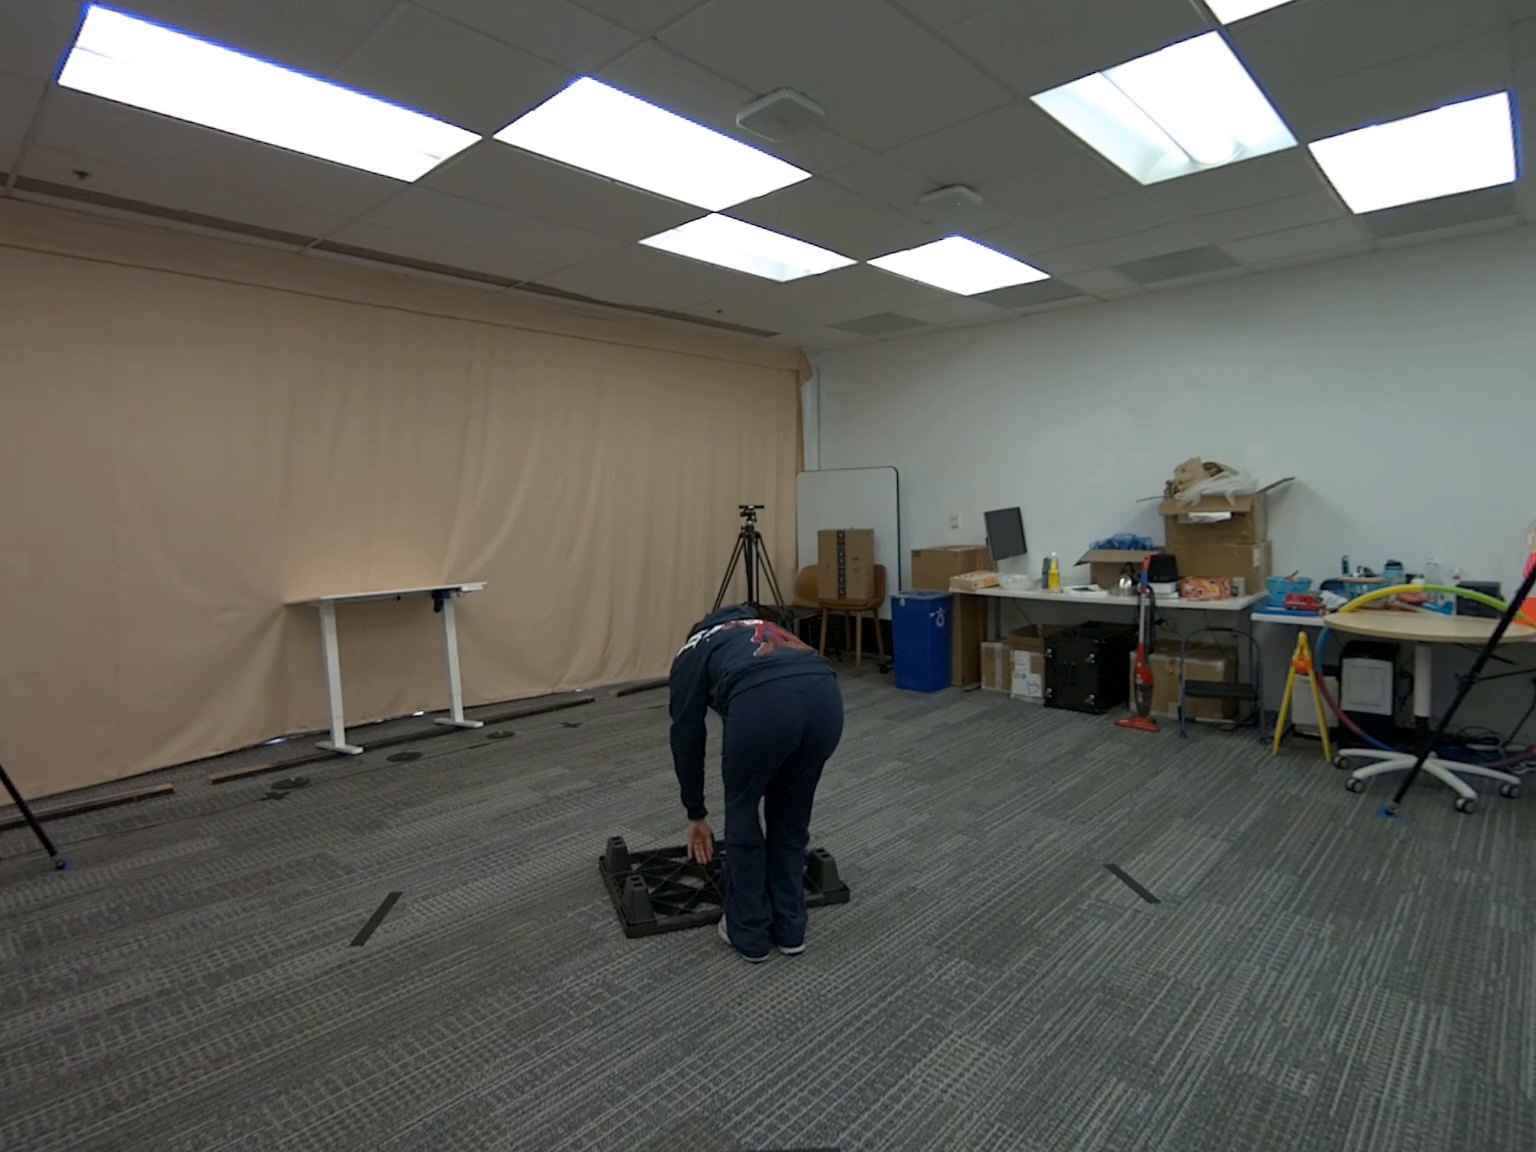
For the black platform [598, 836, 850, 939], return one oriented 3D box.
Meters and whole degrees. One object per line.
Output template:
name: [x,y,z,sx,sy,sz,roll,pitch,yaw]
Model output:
black platform: [-0.185,1.065,3.106,0.791,0.143,0.618,-3,5,-19]
